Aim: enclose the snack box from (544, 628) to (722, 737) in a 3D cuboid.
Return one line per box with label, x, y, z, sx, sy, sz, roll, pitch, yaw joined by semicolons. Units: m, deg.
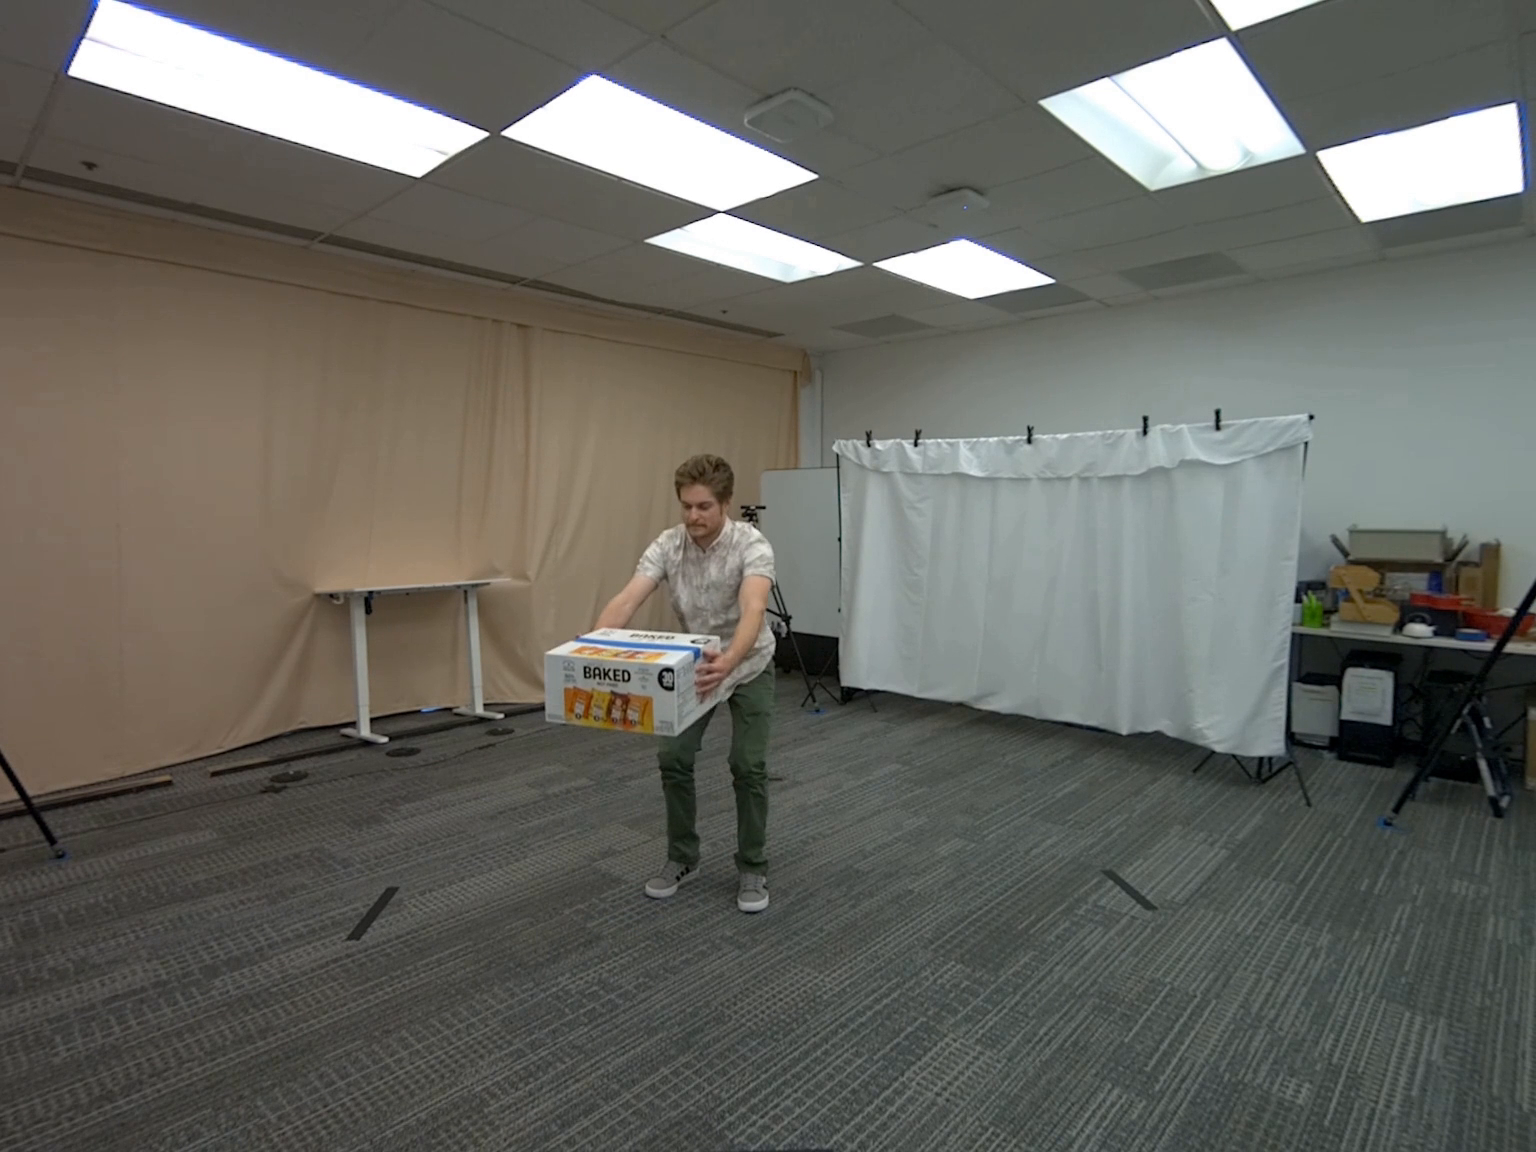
snack box;-0.389;0.304;2.459;0.413;0.204;0.335;2;9;19
